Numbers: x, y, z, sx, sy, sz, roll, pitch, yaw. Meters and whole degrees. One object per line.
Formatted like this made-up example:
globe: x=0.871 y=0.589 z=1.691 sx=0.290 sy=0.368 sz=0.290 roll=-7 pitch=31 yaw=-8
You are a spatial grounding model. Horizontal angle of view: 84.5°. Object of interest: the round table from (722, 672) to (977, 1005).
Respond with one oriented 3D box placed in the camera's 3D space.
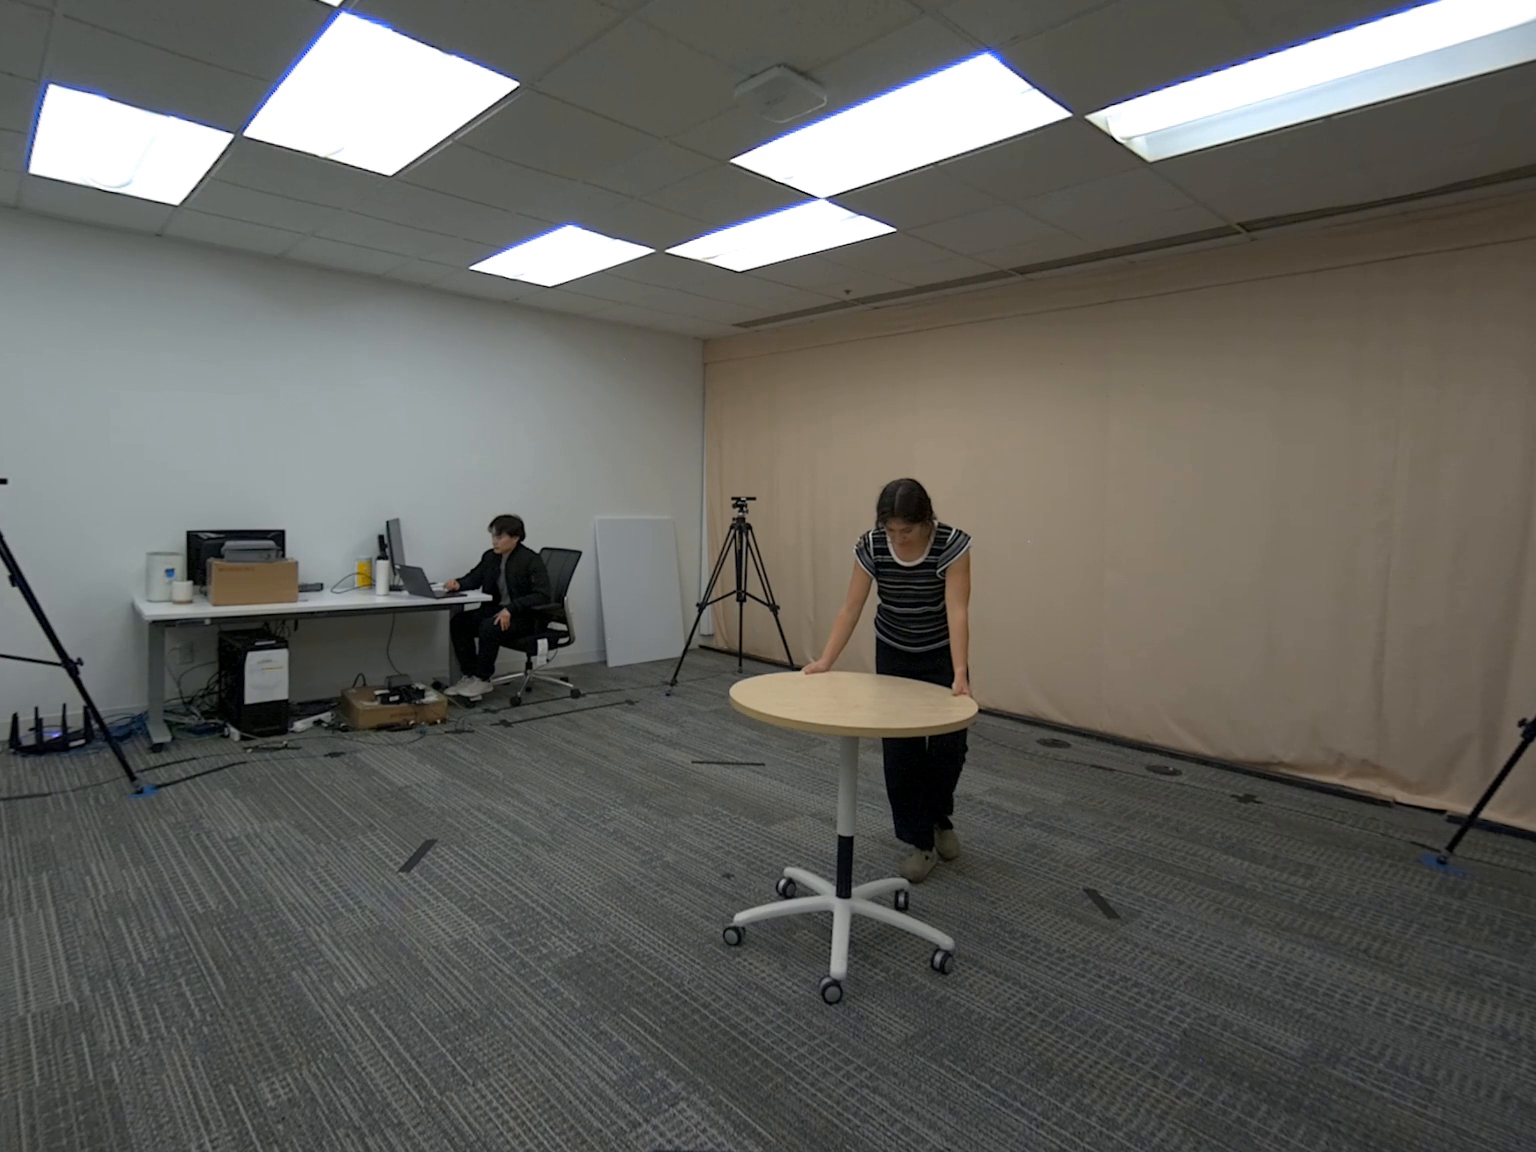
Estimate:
round table: x=0.234 y=0.768 z=2.652 sx=0.763 sy=0.792 sz=0.766 roll=2 pitch=4 yaw=-1
